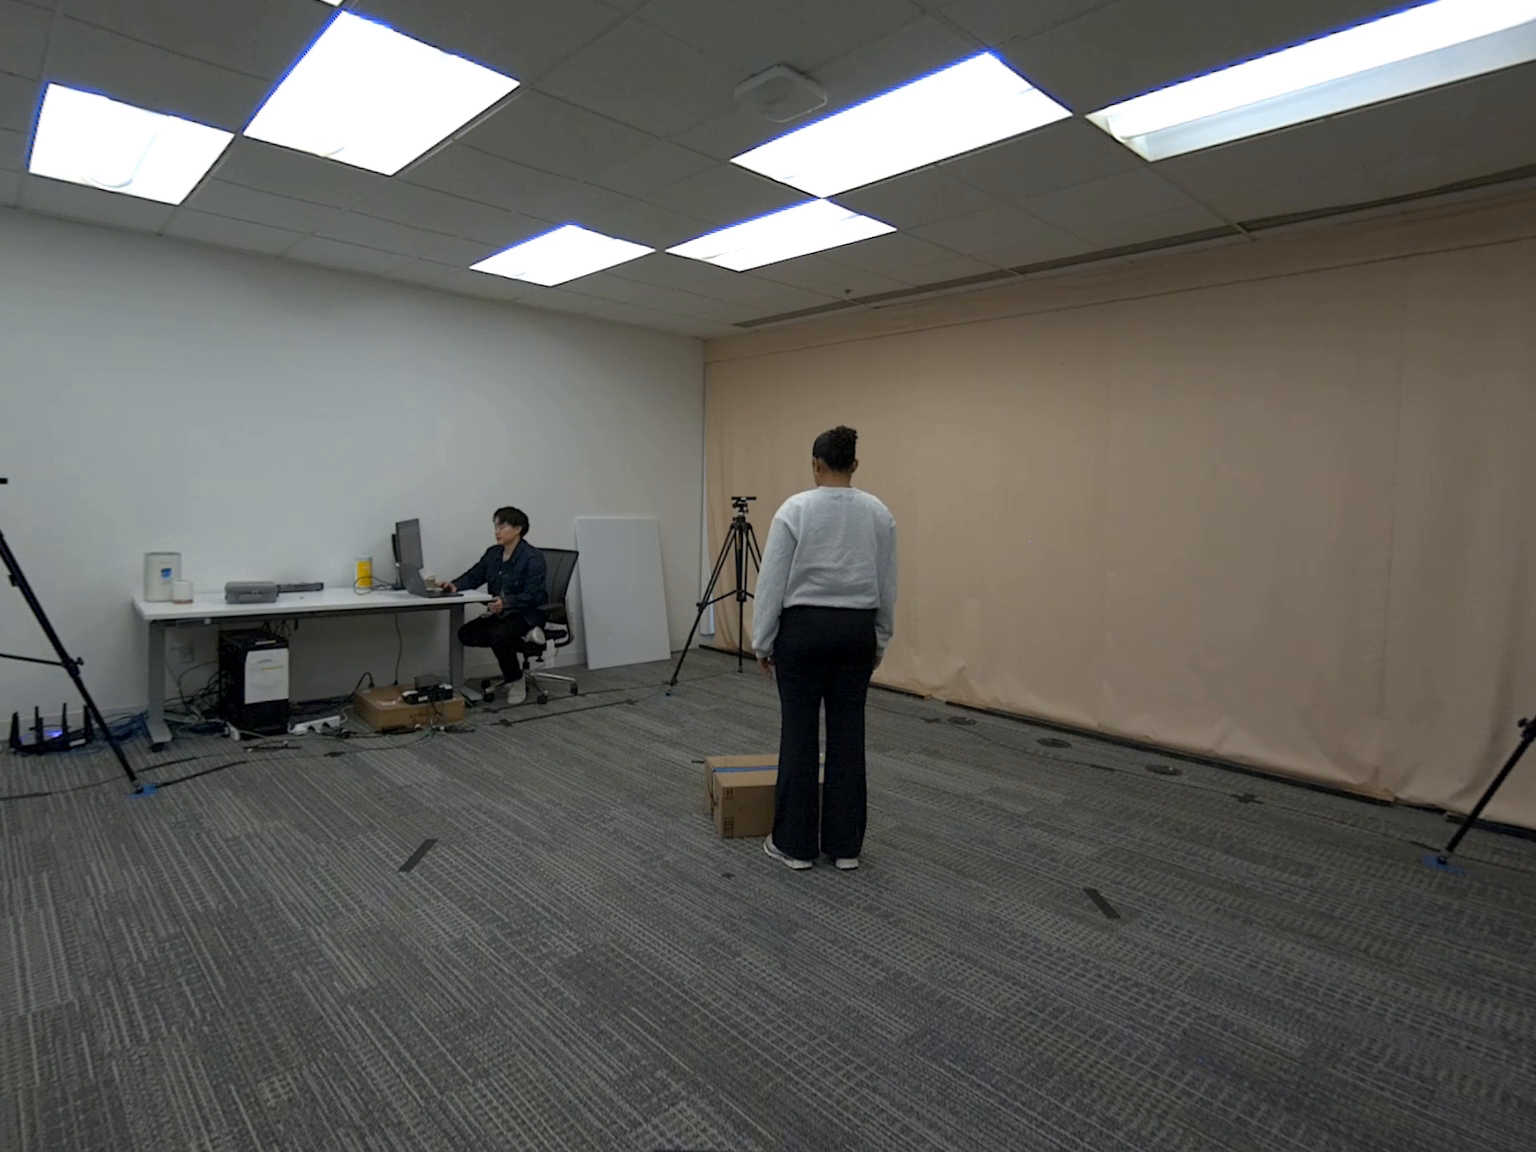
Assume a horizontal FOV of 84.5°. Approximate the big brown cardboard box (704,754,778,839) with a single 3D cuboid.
[{"bbox_3d":[0.028,0.945,3.696,0.583,0.232,0.423,-1,5,-13],"label":"big brown cardboard box"}]
